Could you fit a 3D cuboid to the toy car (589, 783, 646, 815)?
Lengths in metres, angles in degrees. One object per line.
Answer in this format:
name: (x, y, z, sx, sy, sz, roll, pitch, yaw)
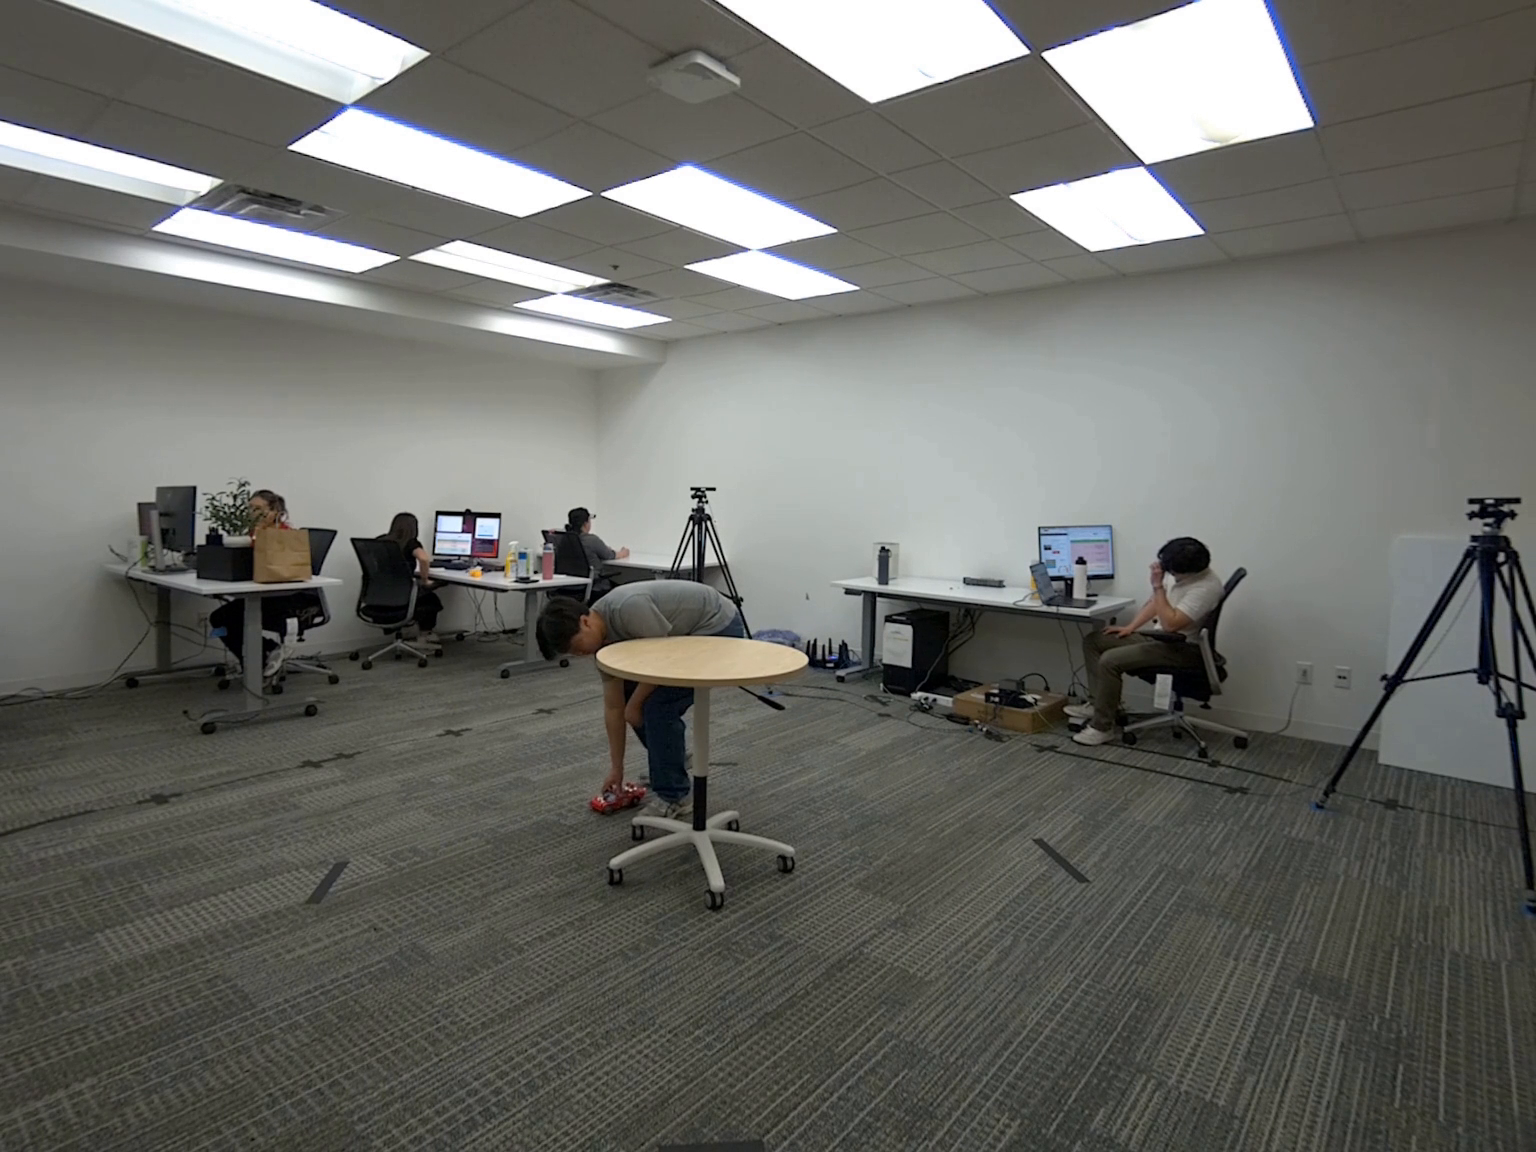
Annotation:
toy car: (-0.667, 0.971, 3.700, 0.249, 0.082, 0.134, -18, 14, -40)
